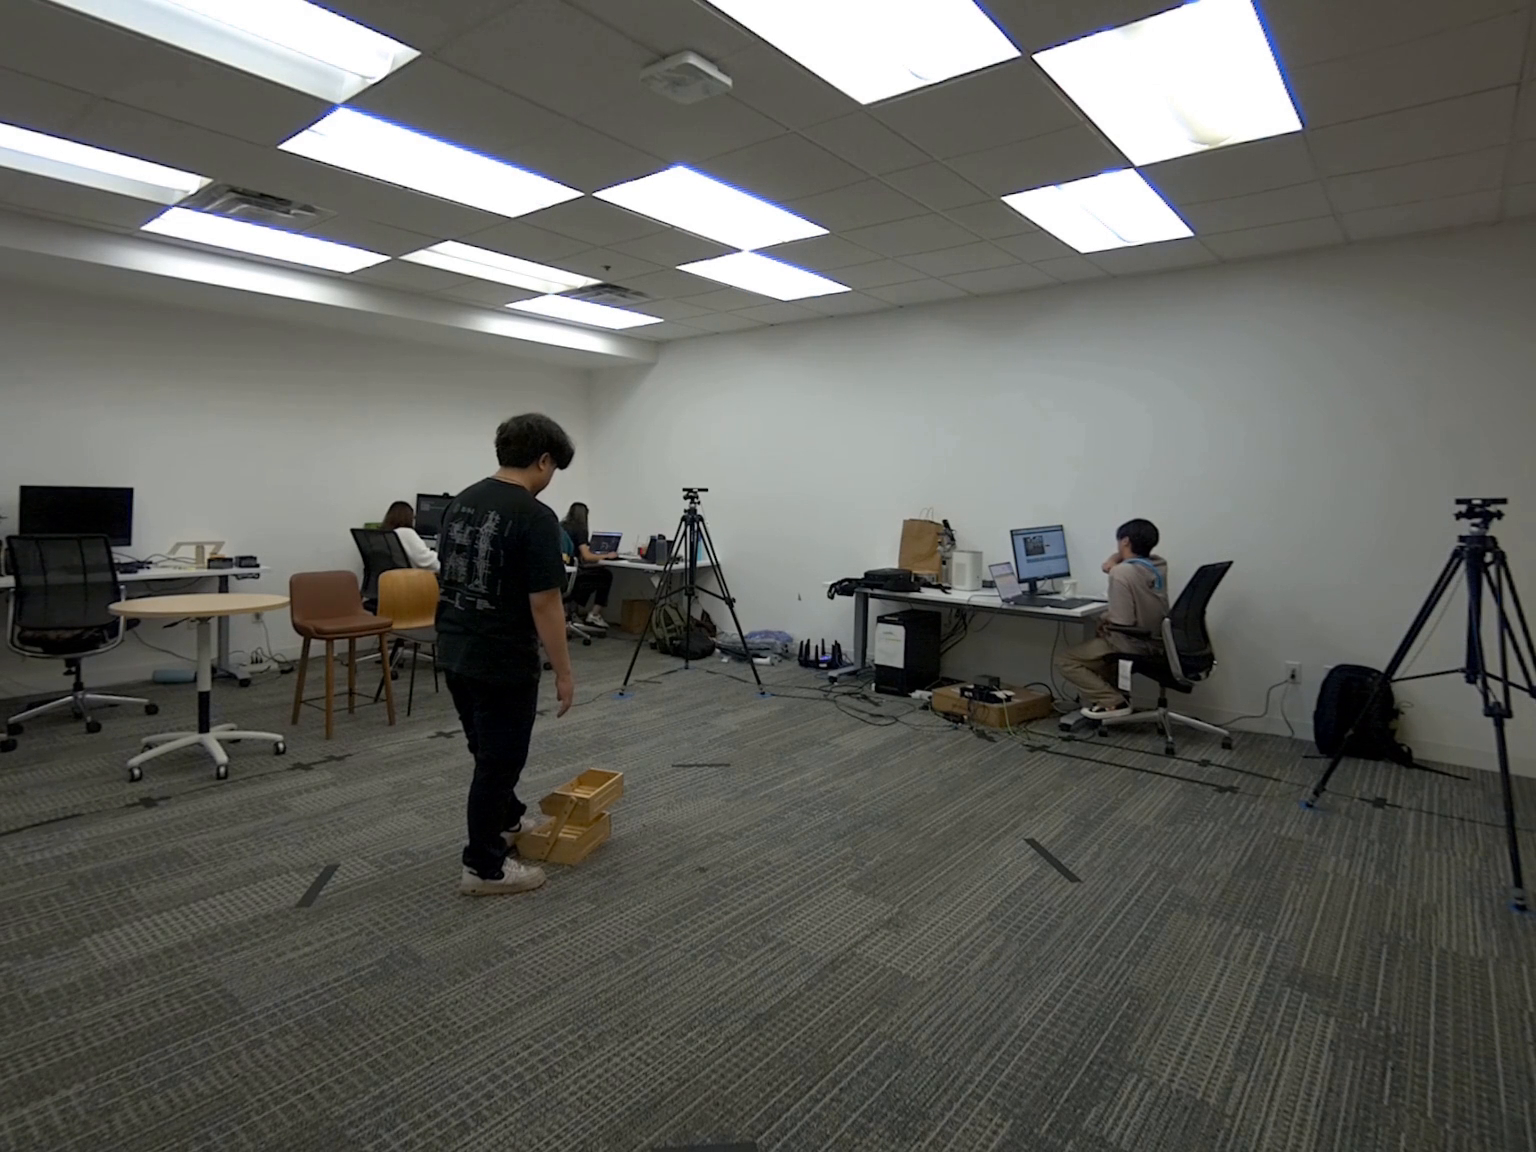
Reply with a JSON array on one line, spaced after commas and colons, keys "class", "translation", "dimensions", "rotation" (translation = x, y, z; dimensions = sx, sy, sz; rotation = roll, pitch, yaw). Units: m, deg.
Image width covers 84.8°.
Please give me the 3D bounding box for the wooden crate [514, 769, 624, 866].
[{"class": "wooden crate", "translation": [-0.773, 0.912, 3.285], "dimensions": [0.308, 0.272, 0.319], "rotation": [3, 4, 17]}]
